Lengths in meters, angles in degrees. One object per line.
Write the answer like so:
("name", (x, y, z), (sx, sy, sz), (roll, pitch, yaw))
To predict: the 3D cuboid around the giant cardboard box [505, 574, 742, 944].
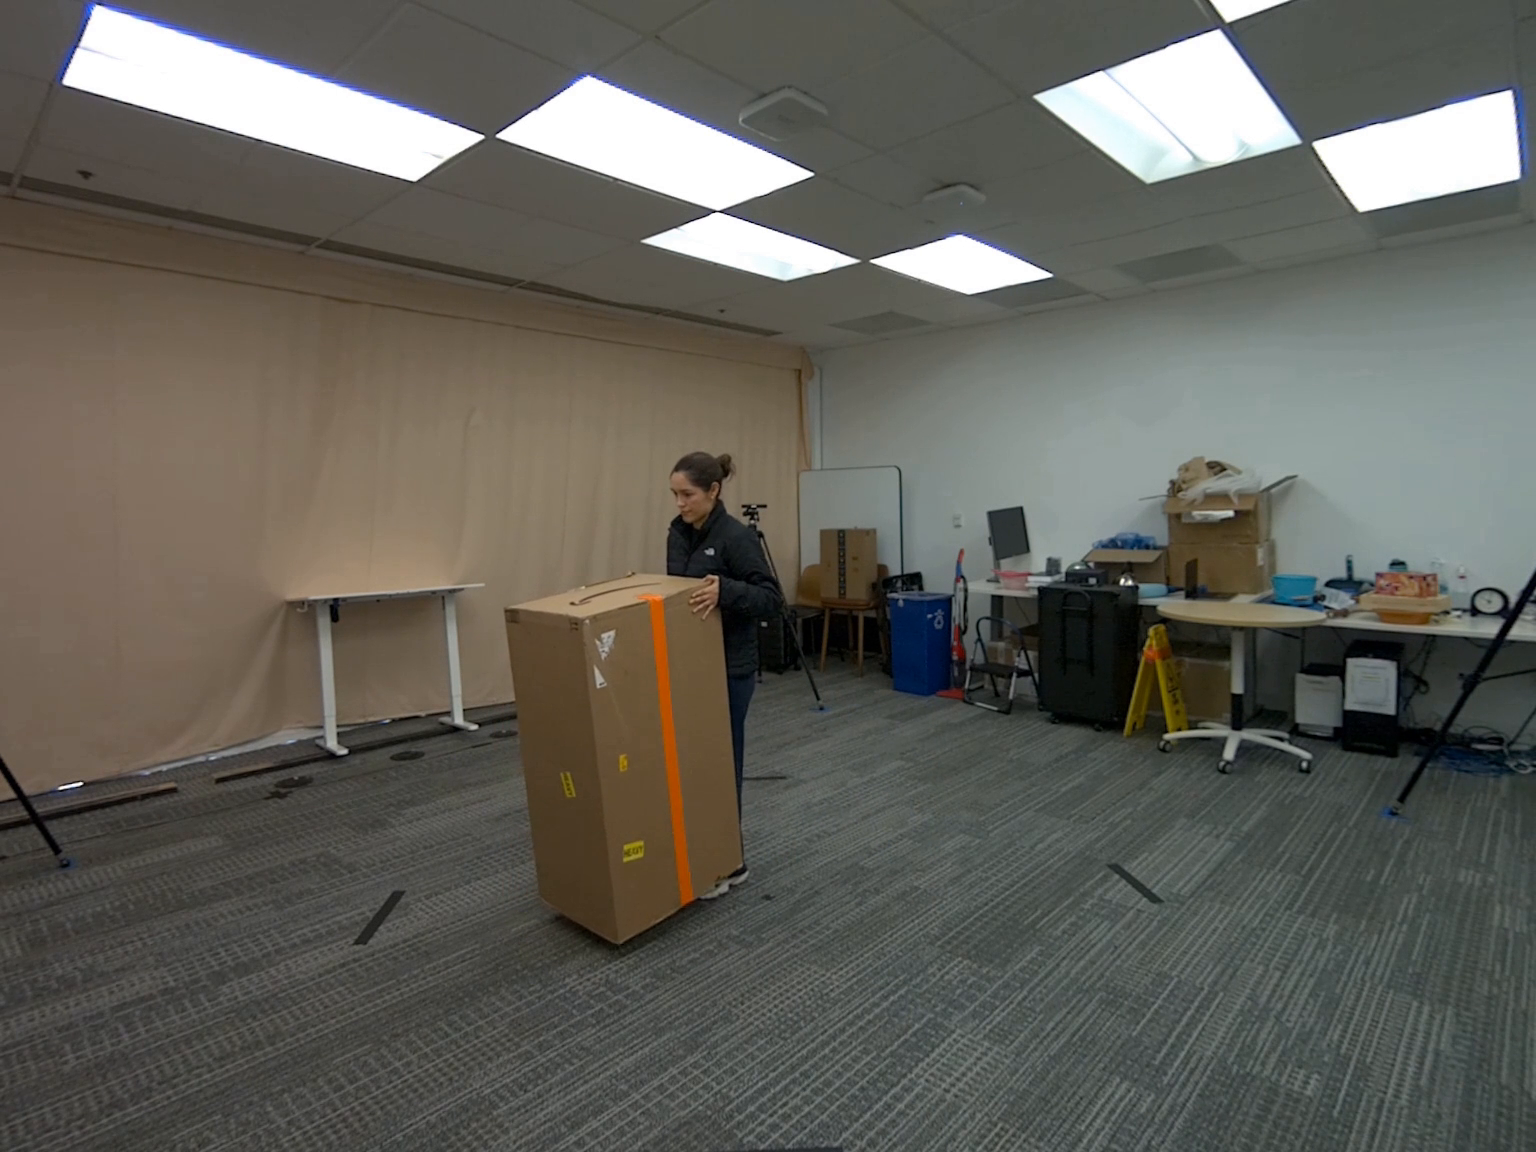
("giant cardboard box", (-0.461, 0.565, 2.825), (0.440, 1.020, 0.562), (2, 11, 43))
